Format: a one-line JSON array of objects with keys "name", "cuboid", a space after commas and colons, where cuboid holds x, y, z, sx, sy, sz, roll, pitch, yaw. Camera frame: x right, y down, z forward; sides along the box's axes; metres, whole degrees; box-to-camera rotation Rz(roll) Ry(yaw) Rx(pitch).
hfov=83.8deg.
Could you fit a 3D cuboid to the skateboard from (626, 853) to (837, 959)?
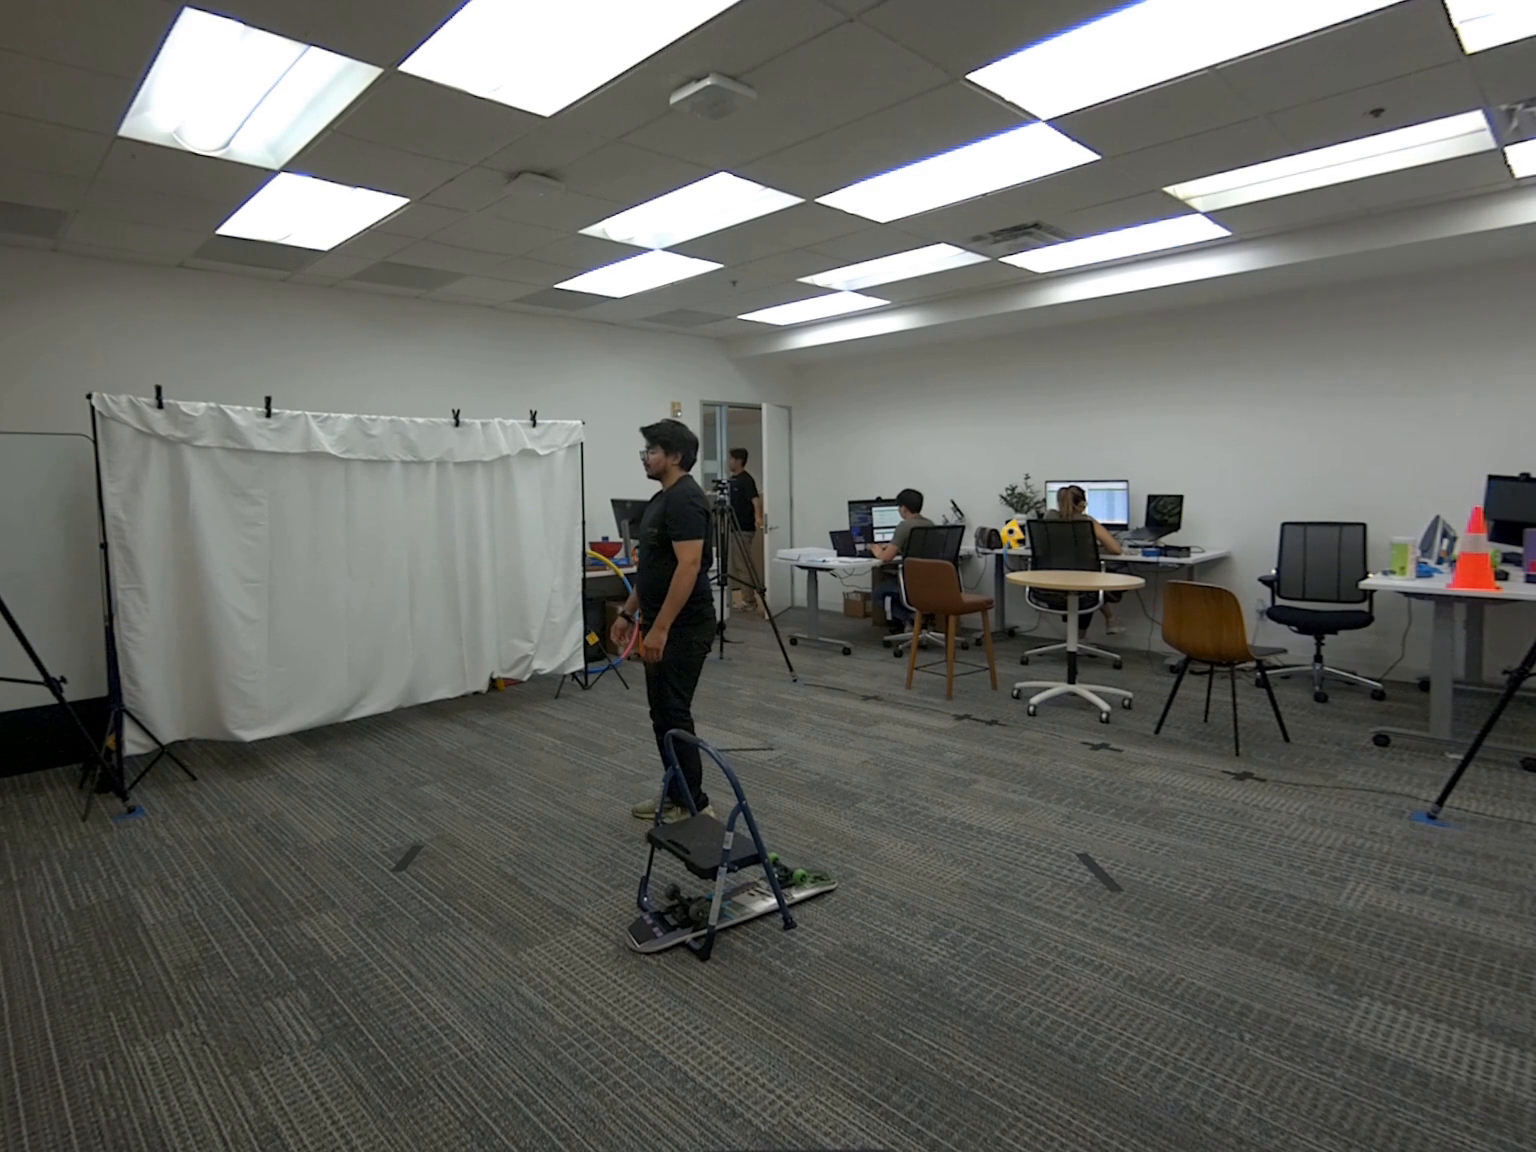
[{"name": "skateboard", "cuboid": [-0.090, 1.037, 2.768, 0.766, 0.110, 0.199, -5, 6, -35]}]
